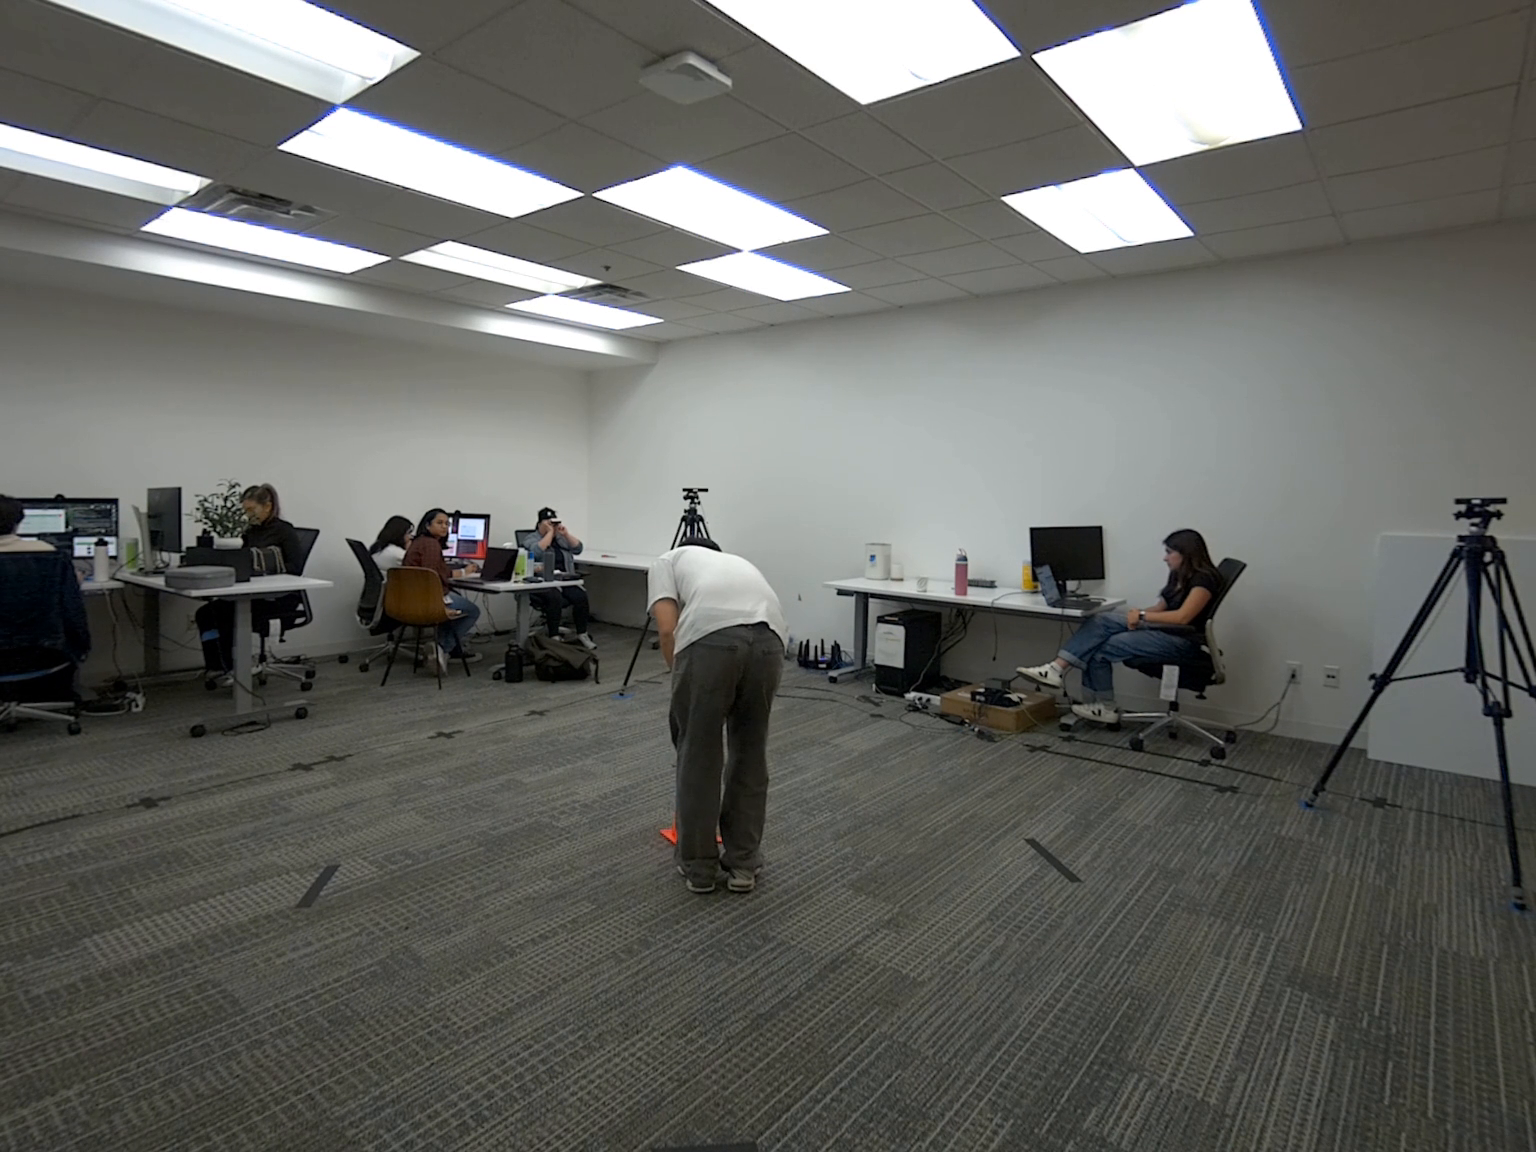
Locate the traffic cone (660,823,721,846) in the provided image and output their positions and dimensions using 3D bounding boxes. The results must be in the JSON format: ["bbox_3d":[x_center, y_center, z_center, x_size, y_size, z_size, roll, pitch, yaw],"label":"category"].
[{"bbox_3d":[-0.288,0.821,3.394,0.198,0.383,0.211,2,2,-28],"label":"traffic cone"}]
